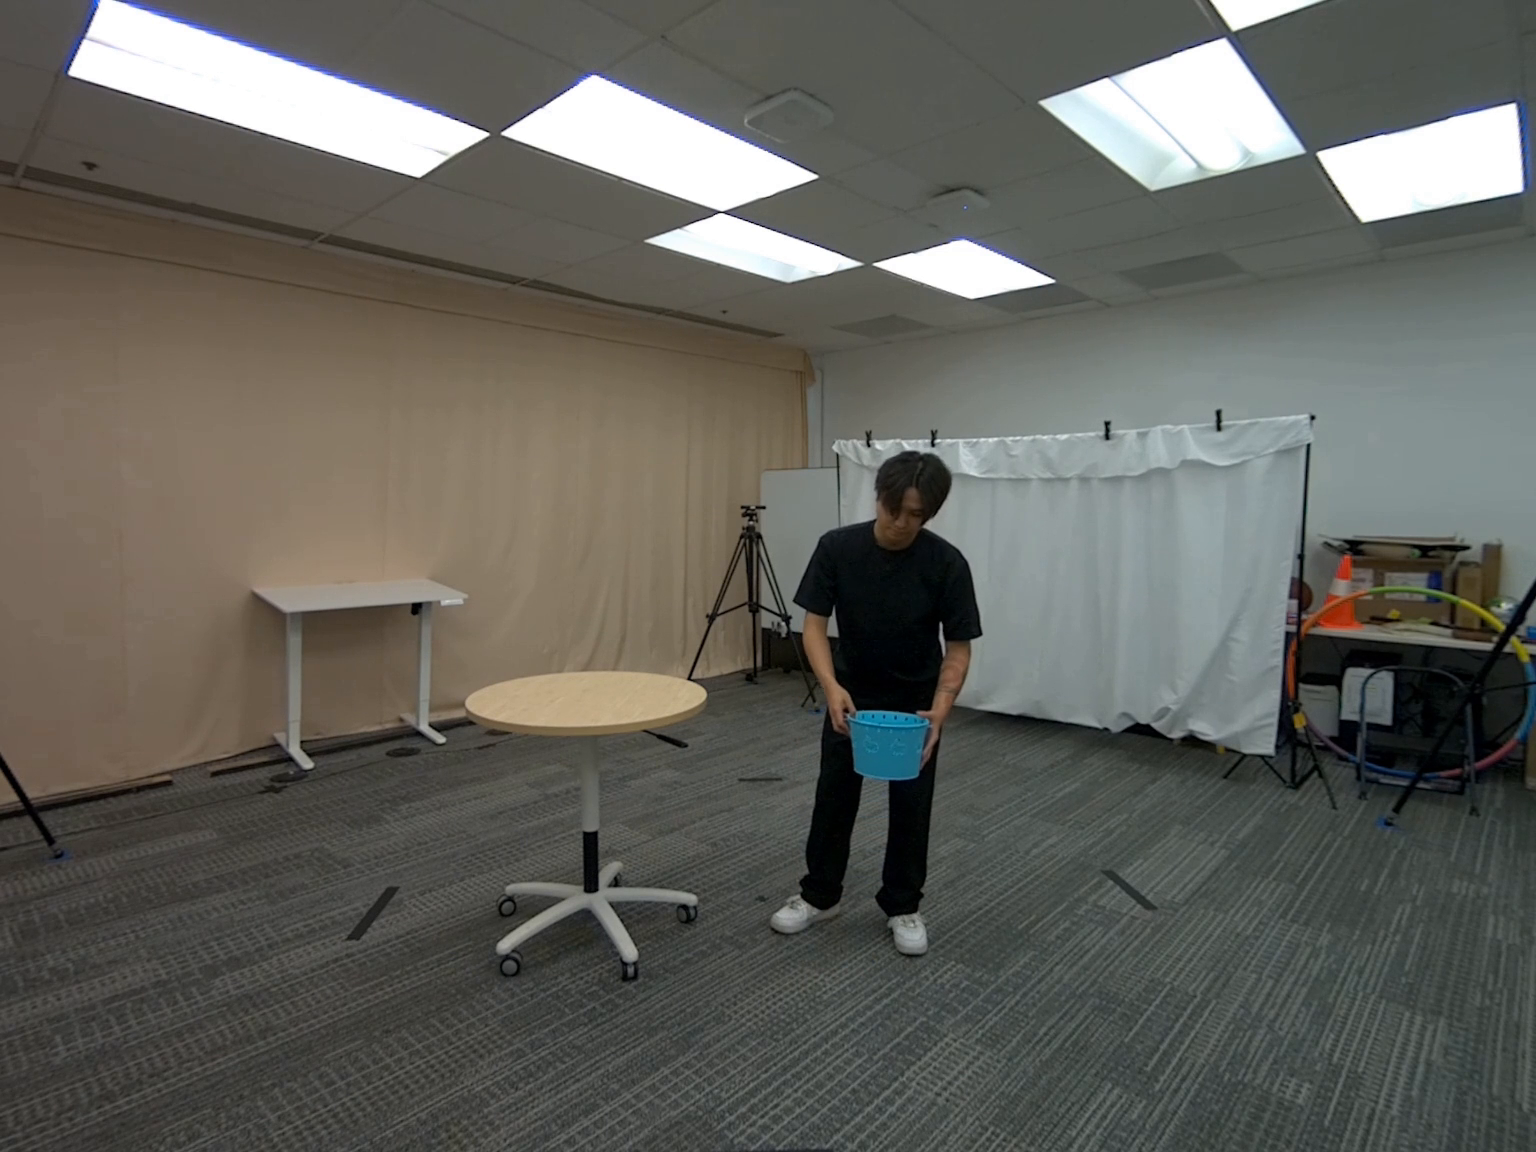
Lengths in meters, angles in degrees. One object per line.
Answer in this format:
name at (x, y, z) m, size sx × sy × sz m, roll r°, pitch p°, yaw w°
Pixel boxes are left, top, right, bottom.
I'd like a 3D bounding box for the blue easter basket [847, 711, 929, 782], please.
blue easter basket at (0.349, 0.477, 2.401) m, size 0.243 × 0.156 × 0.244 m, roll 5°, pitch 3°, yaw -2°
